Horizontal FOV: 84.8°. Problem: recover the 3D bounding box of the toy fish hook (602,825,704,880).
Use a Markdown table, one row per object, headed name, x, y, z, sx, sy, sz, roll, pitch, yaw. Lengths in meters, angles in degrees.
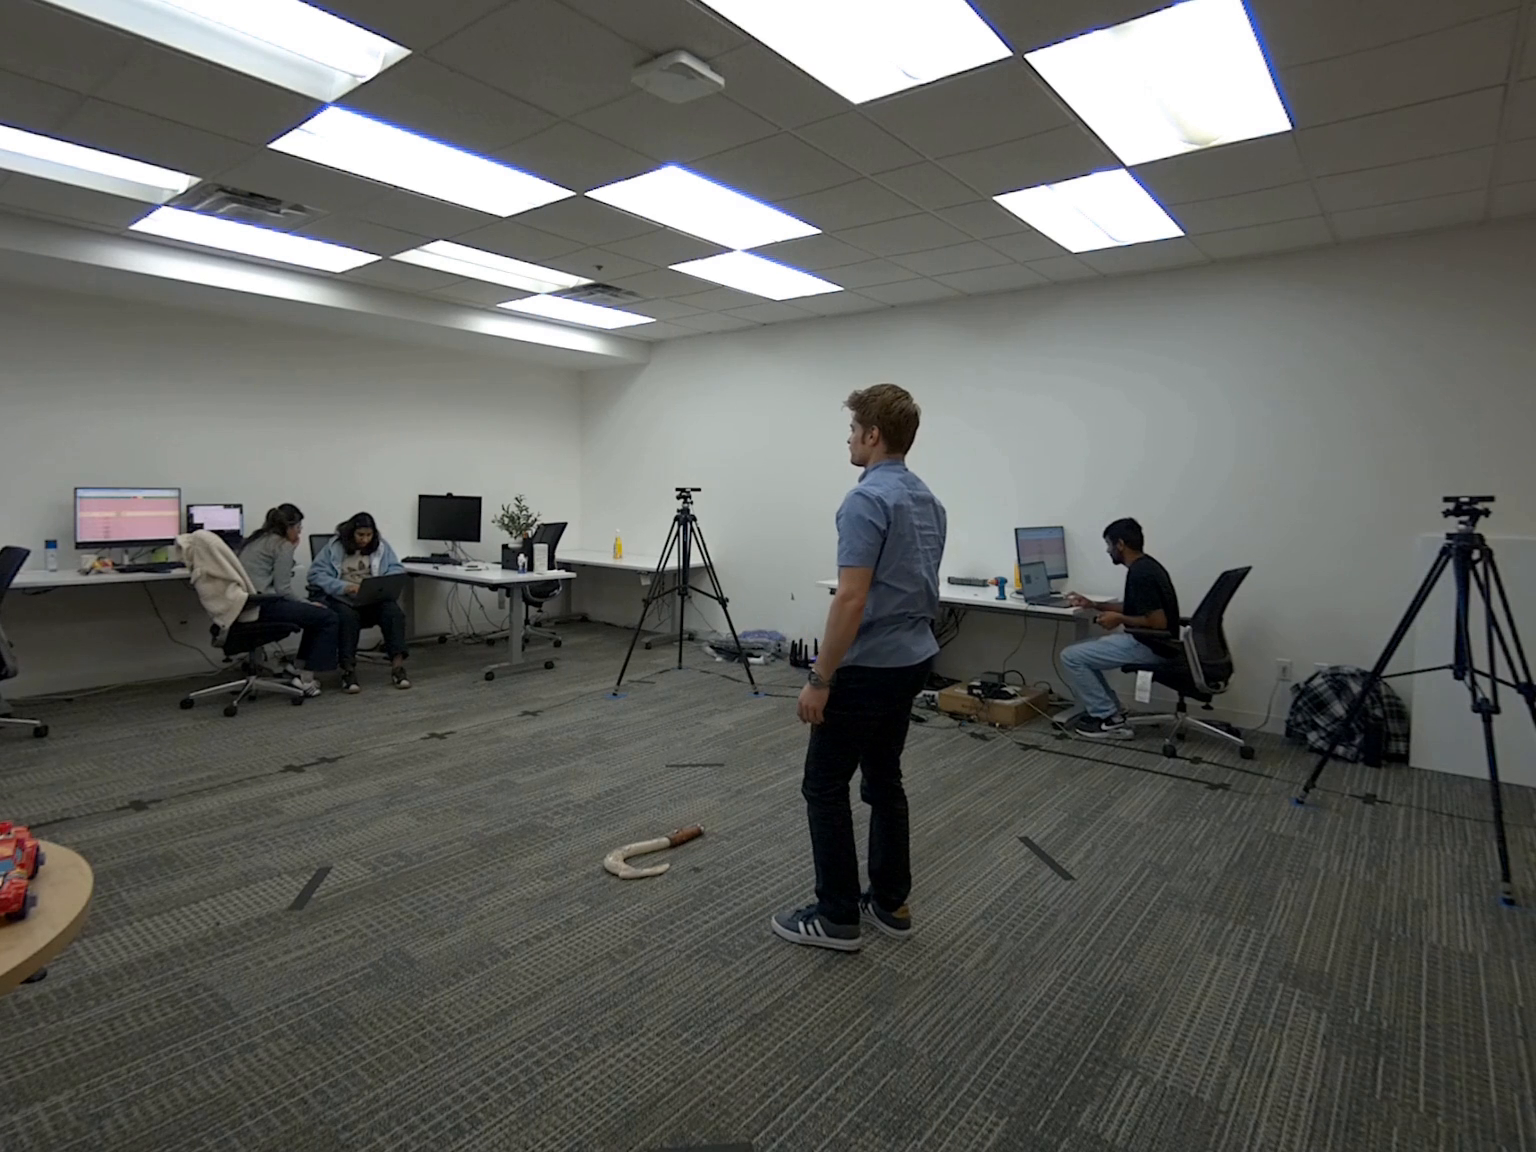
| name | x | y | z | sx | sy | sz | roll | pitch | yaw |
| --- | --- | --- | --- | --- | --- | --- | --- | --- | --- |
| toy fish hook | -0.396 | 1.040 | 3.218 | 0.233 | 0.048 | 0.492 | 16 | 15 | 41 |
